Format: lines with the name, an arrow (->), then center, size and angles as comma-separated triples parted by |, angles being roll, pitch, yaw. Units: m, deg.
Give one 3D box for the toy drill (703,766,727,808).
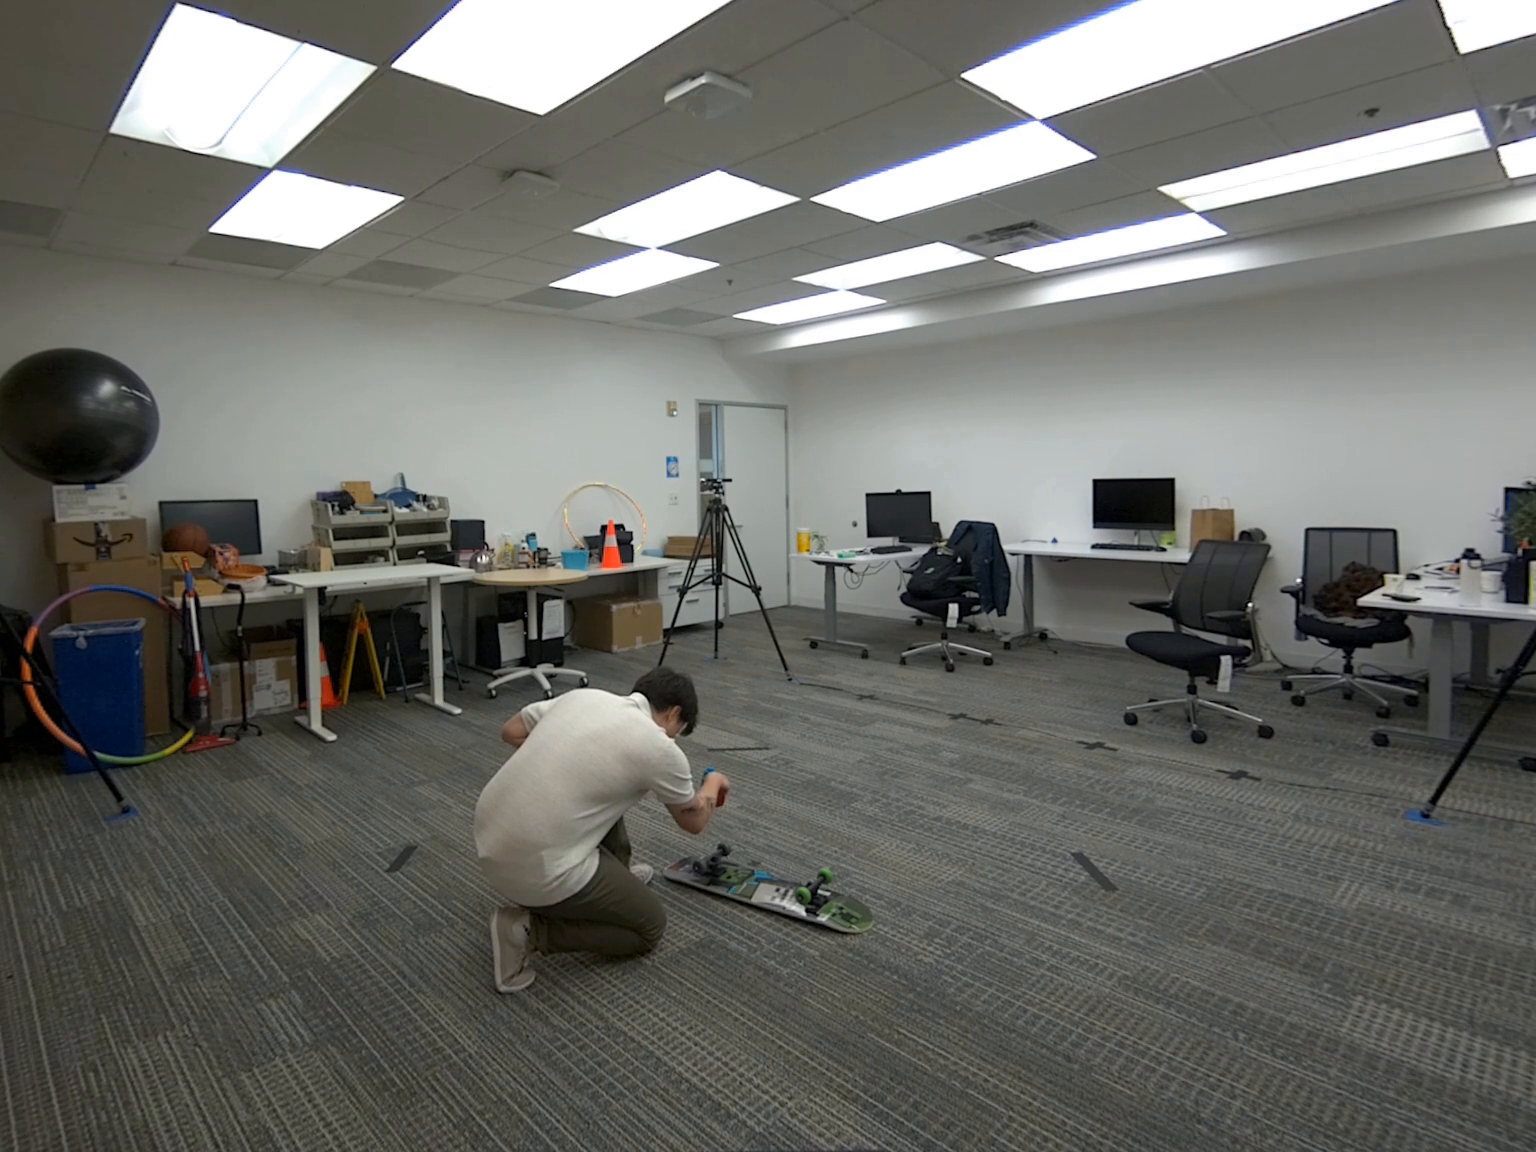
toy drill -> -0.191, 0.785, 2.969 | 0.060, 0.167, 0.150 | 0, 20, -11
